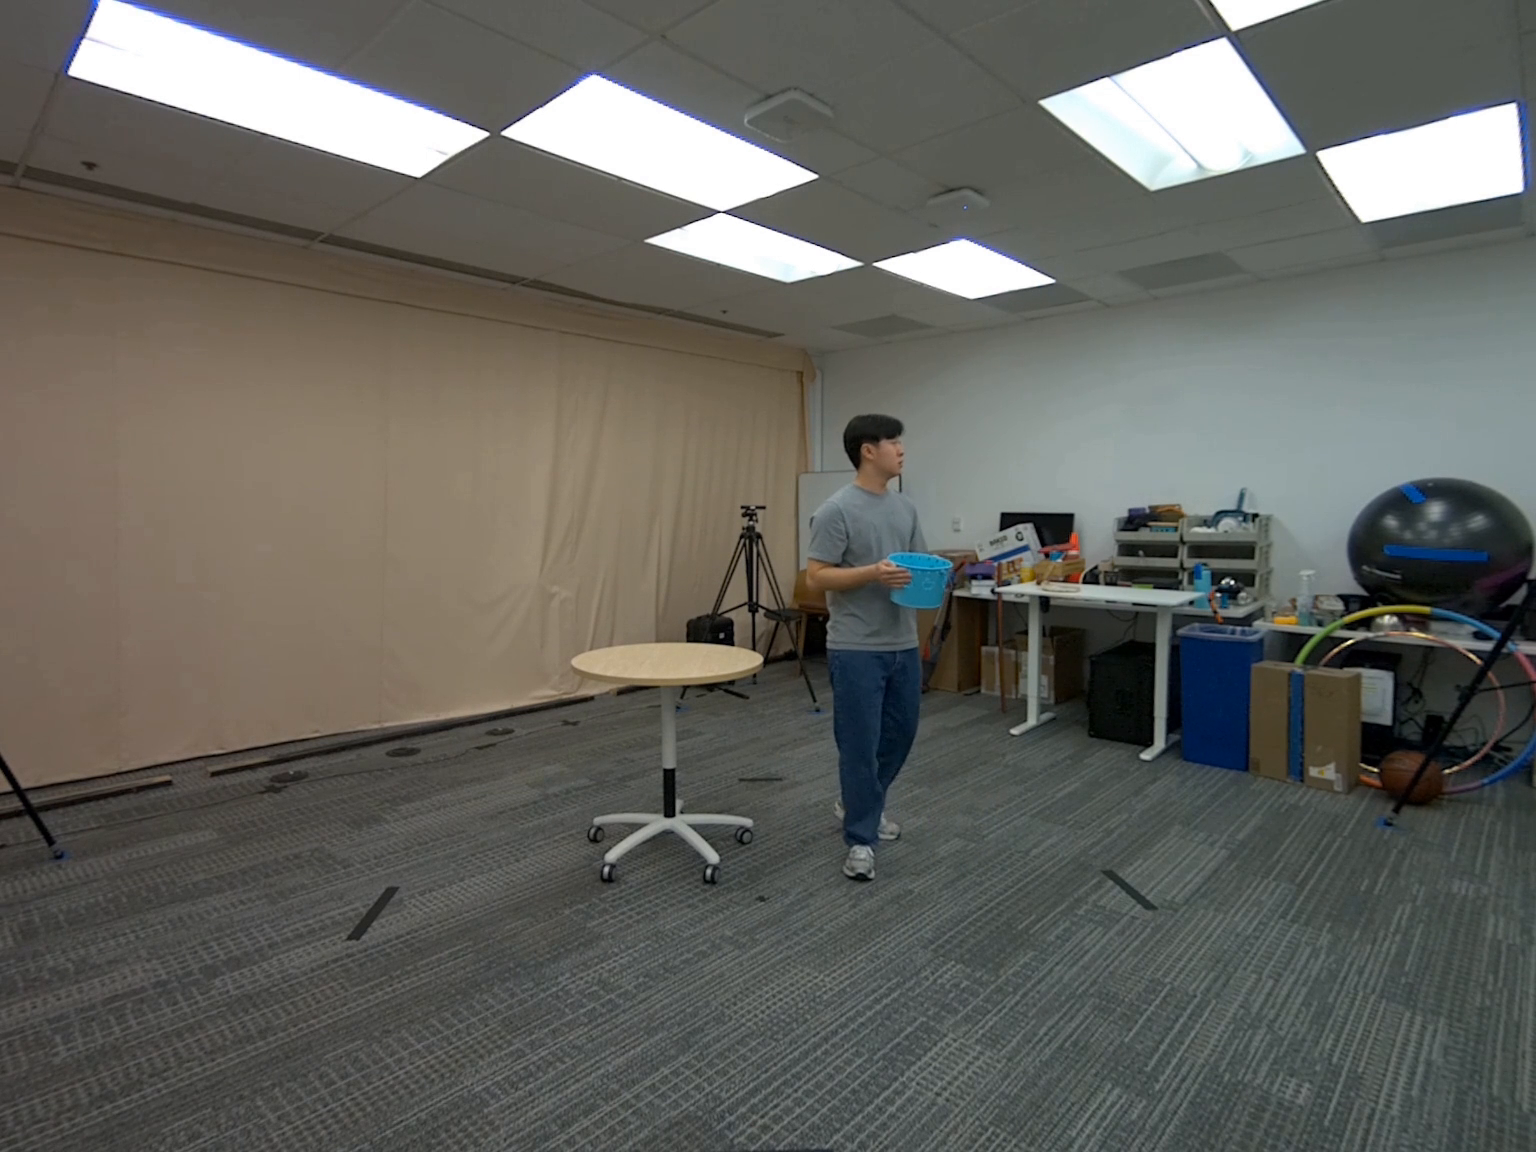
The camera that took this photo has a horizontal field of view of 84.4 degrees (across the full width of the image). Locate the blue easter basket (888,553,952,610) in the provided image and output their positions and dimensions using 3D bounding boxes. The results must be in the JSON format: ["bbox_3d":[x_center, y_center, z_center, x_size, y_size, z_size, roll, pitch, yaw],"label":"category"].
[{"bbox_3d":[0.531,0.021,3.076,0.243,0.155,0.245,4,12,-3],"label":"blue easter basket"}]
